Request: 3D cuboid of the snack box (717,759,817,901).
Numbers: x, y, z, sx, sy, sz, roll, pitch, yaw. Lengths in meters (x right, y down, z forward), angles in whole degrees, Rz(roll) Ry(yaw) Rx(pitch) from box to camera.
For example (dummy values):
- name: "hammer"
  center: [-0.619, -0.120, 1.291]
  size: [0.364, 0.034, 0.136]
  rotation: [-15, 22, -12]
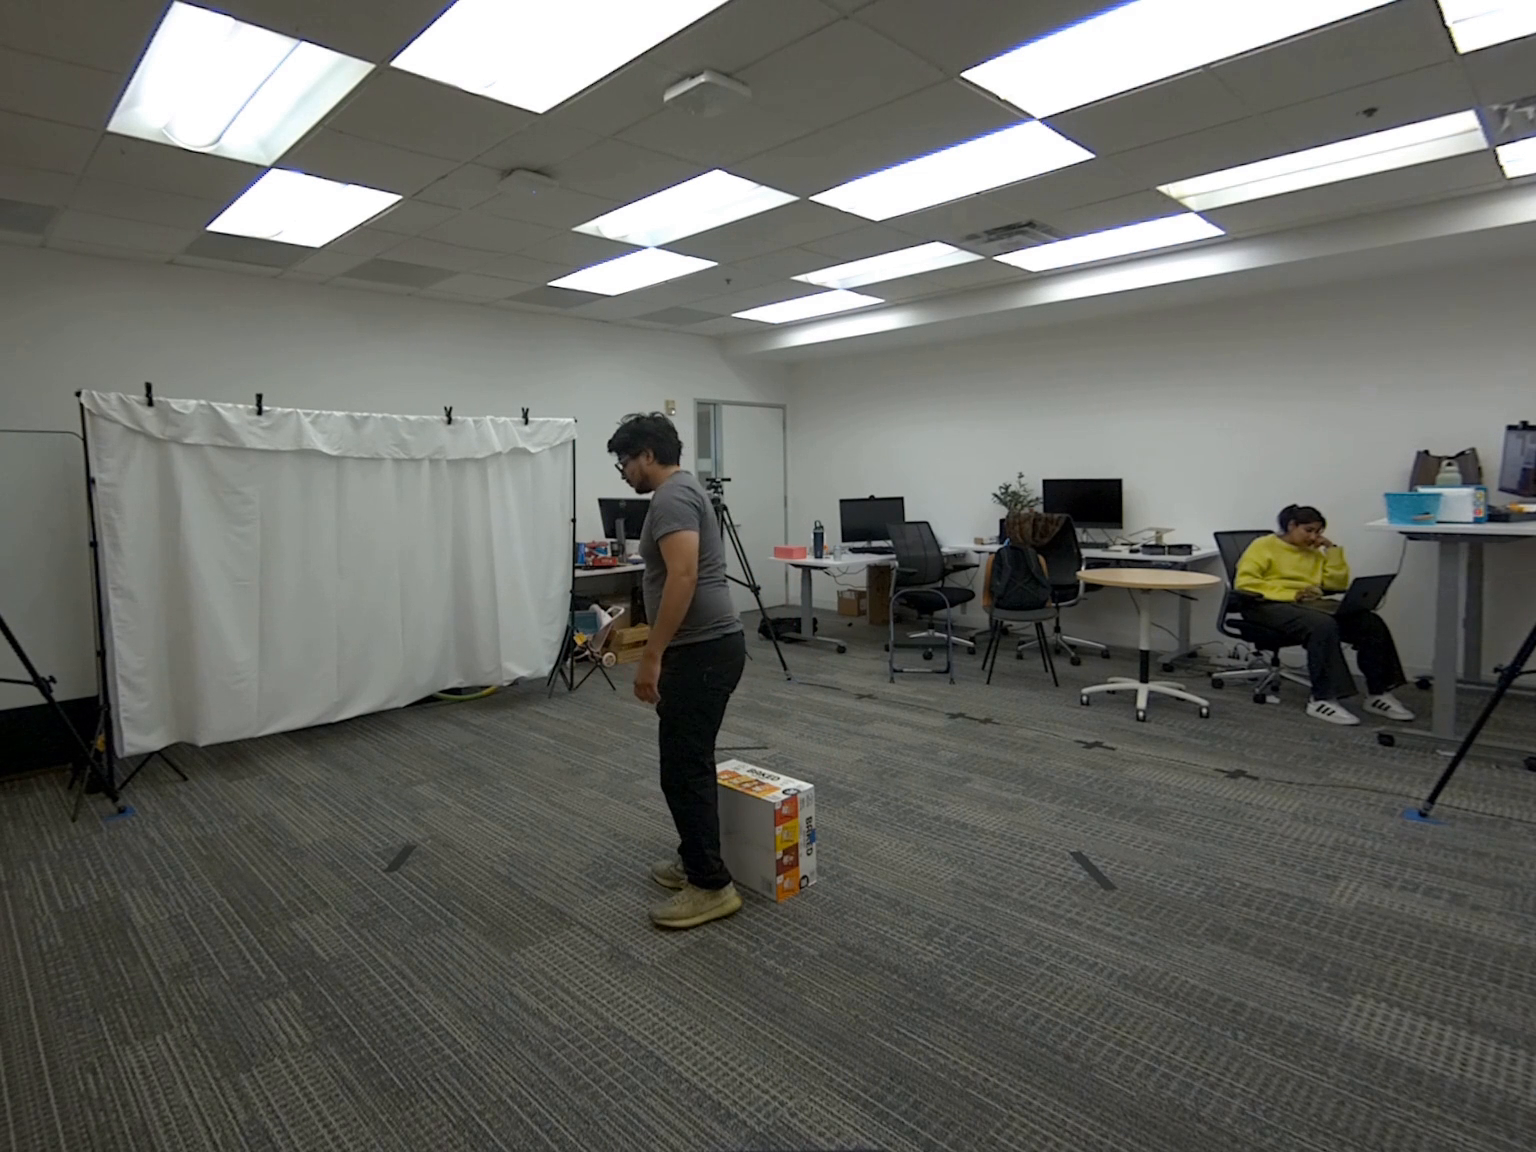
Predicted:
- name: "snack box"
  center: [-0.047, 0.882, 3.016]
  size: [0.417, 0.339, 0.200]
  rotation: [4, 7, 45]
